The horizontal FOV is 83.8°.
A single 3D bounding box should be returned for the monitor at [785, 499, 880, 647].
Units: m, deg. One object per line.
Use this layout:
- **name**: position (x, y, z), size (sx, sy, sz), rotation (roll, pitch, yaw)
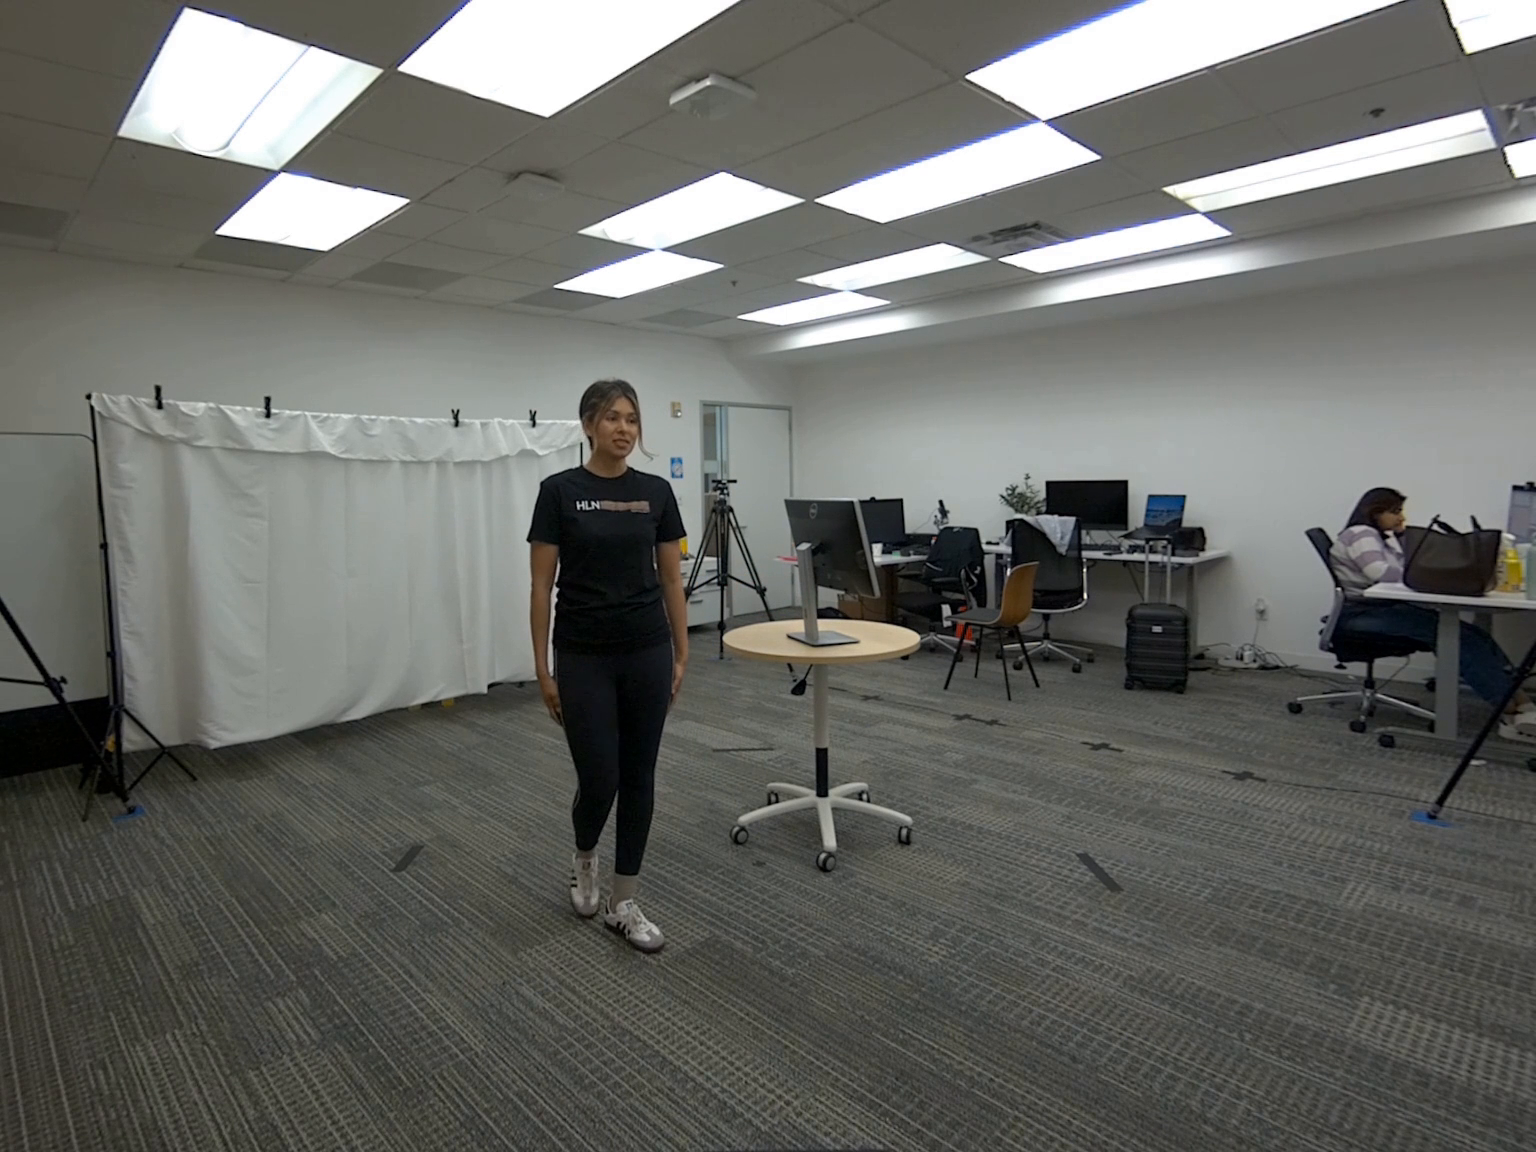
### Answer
- **monitor**: position (0.205, -0.018, 3.252), size (0.183, 0.520, 0.553), rotation (-3, 5, -26)
